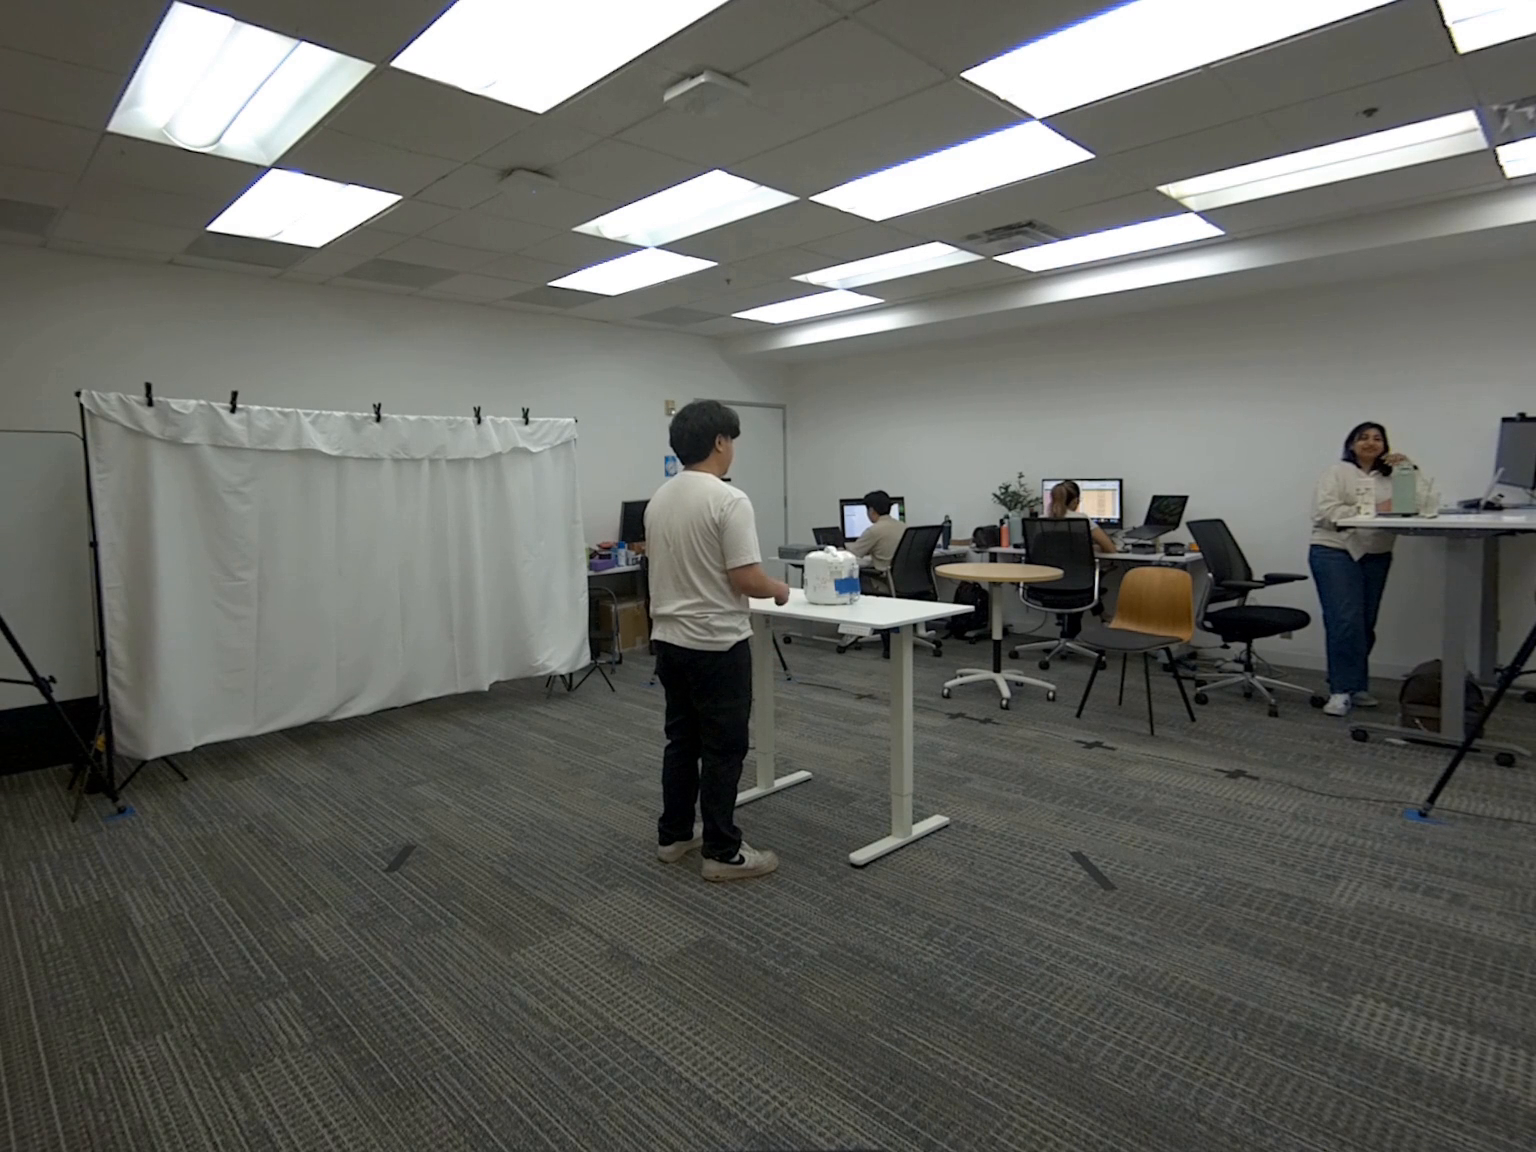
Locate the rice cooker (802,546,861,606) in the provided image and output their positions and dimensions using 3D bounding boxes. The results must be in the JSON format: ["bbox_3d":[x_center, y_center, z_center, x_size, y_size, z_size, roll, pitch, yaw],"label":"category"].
[{"bbox_3d":[0.261,-0.006,3.492,0.217,0.232,0.222,-1,3,-4],"label":"rice cooker"}]
